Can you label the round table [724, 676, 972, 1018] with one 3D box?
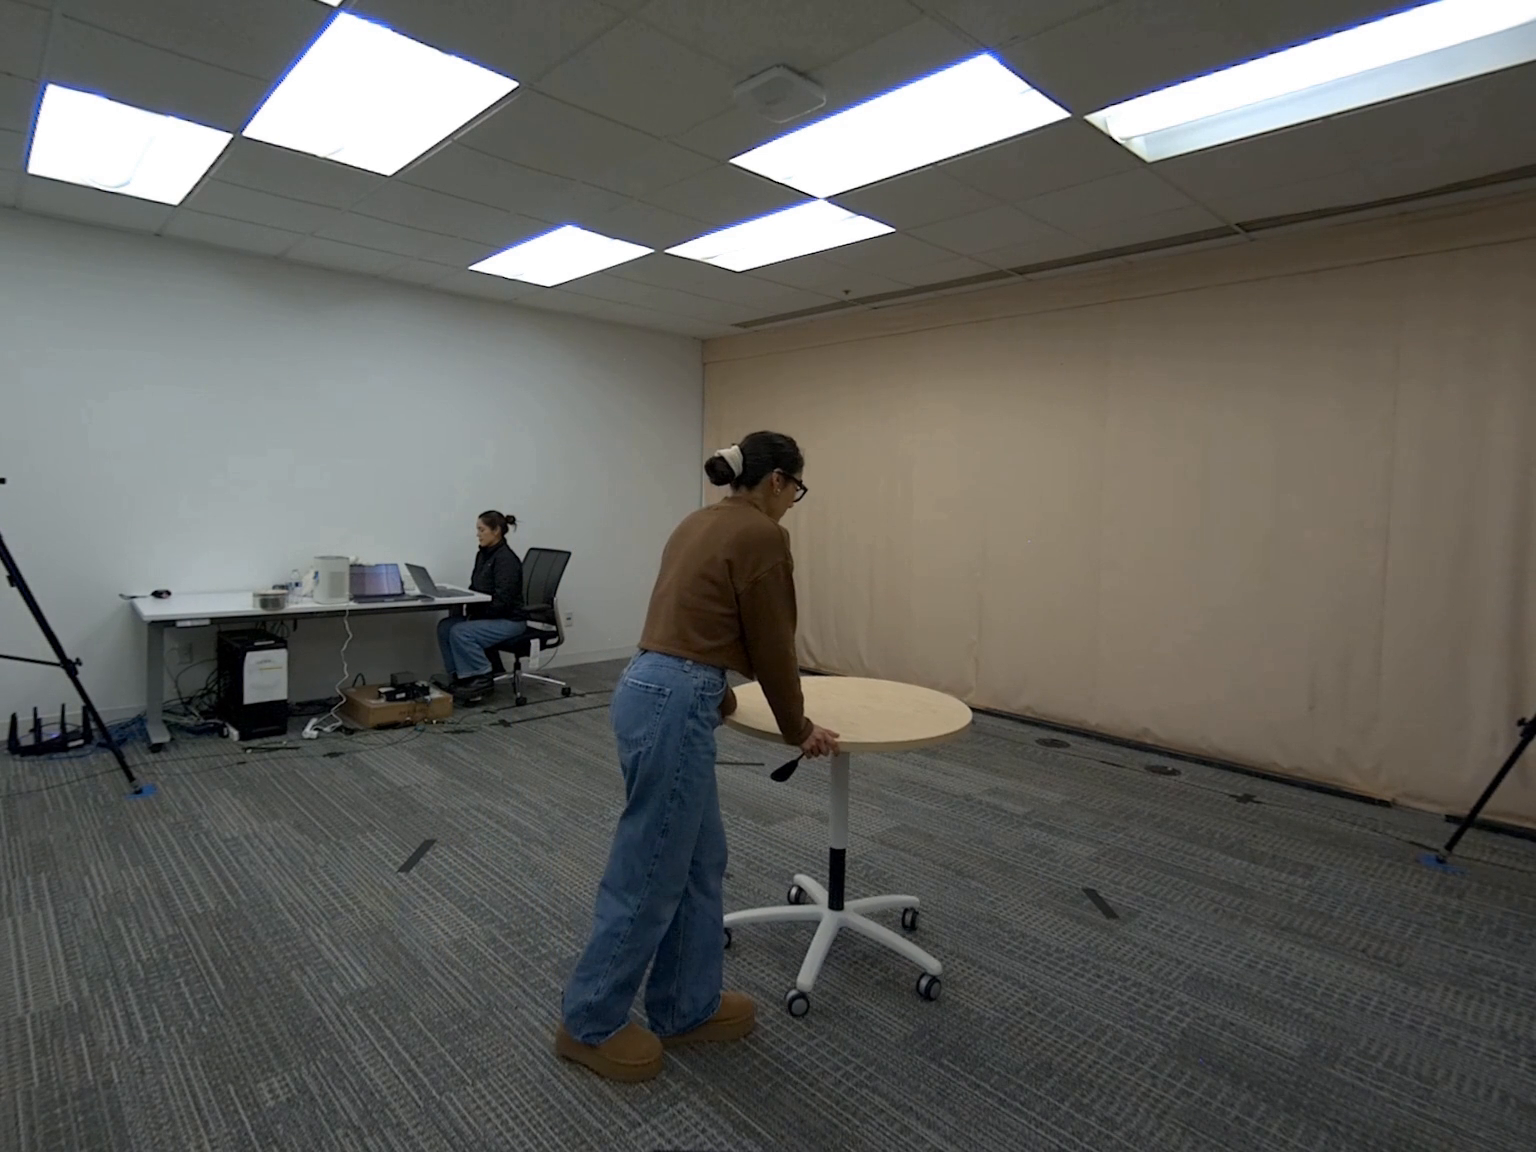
[{"bbox_3d":[0.209,0.780,2.572,0.763,0.791,0.767,1,5,-1],"label":"round table"}]
